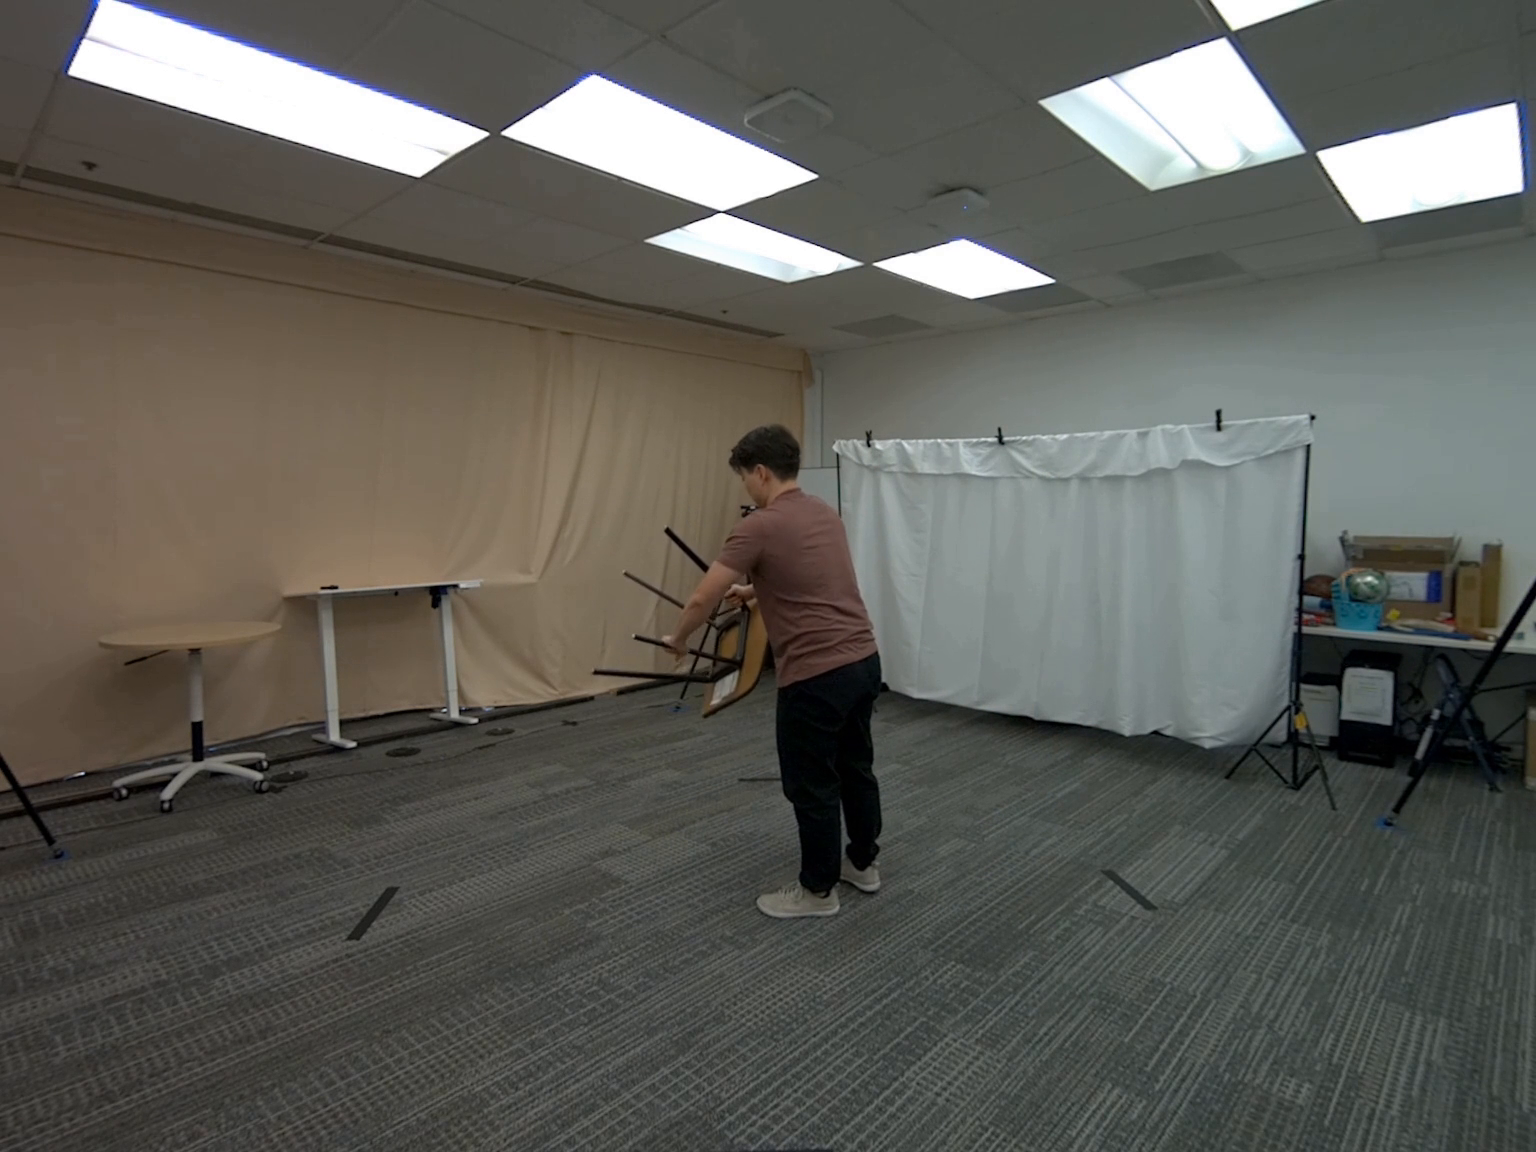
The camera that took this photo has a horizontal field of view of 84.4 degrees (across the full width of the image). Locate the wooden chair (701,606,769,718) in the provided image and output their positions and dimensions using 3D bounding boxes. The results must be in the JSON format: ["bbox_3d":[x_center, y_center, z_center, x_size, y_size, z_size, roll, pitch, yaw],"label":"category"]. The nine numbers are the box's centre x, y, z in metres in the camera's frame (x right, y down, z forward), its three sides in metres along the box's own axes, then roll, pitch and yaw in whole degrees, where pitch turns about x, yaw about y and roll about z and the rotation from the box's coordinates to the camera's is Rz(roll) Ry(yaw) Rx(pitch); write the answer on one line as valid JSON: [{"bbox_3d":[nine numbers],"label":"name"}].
[{"bbox_3d":[-0.148,0.265,3.213,0.858,0.529,0.483,21,-32,-20],"label":"wooden chair"}]
